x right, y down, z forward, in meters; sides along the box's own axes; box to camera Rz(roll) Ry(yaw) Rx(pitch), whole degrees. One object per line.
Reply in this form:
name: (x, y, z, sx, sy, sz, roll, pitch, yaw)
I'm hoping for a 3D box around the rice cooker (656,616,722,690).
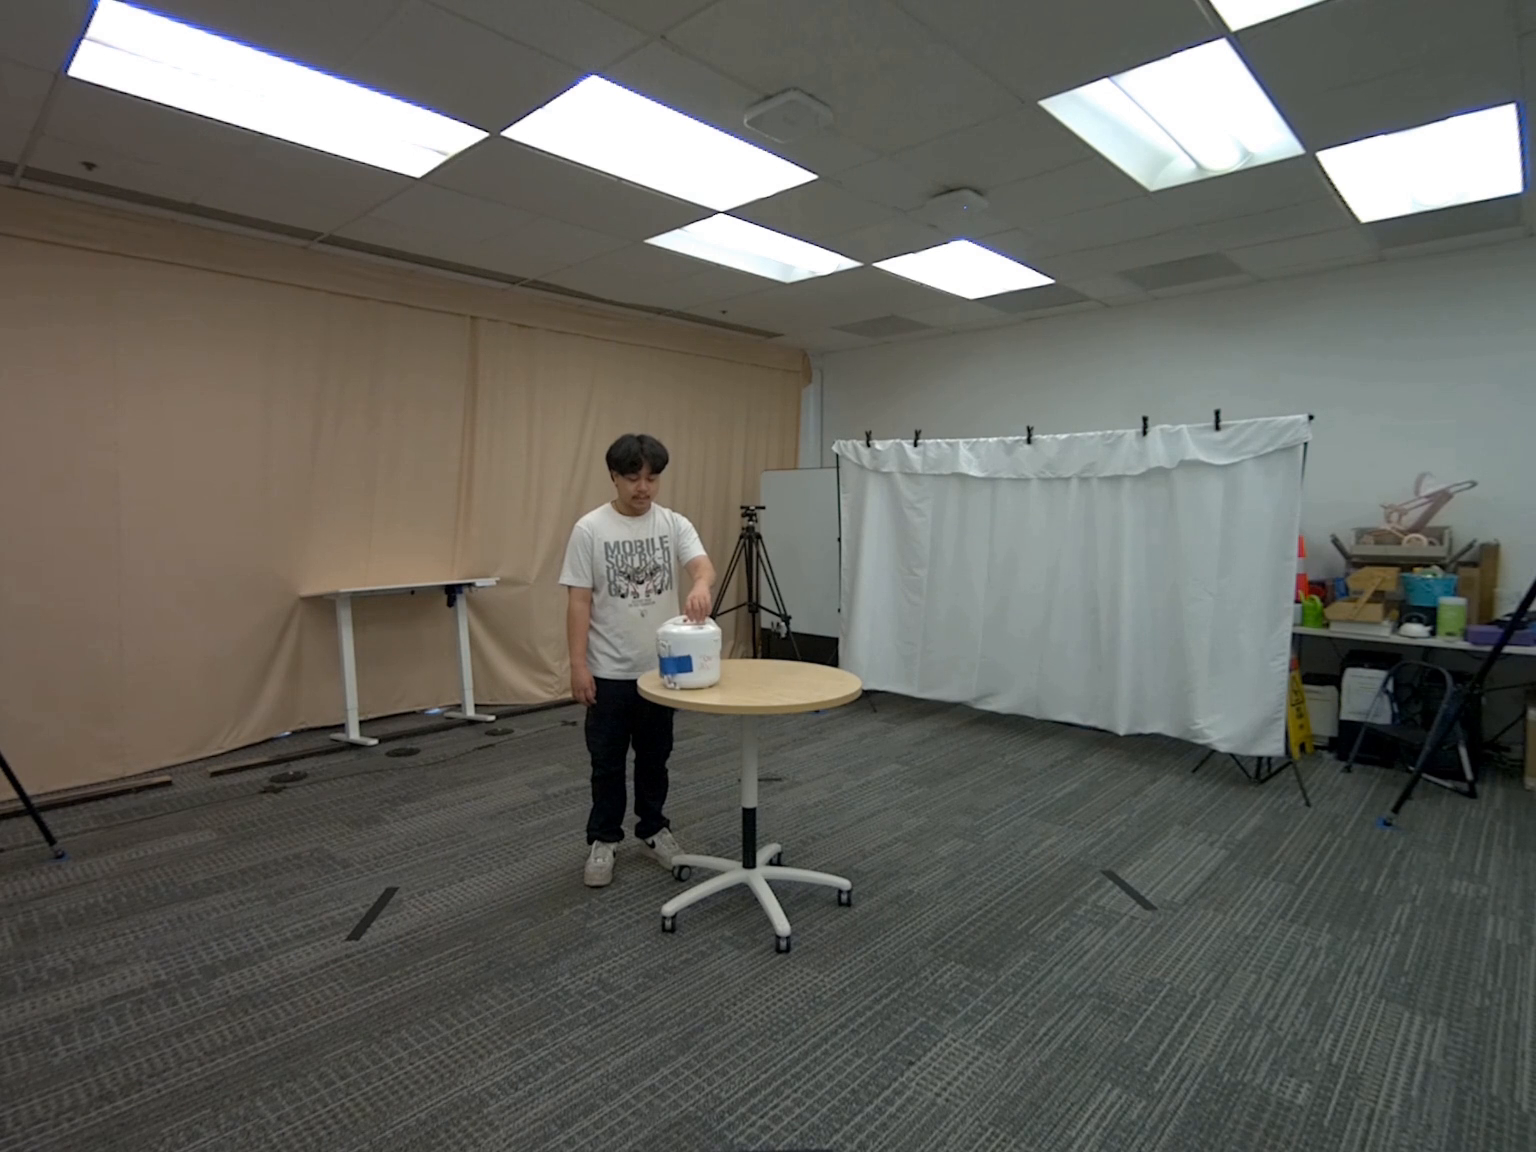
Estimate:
rice cooker: (-0.261, 0.245, 2.808, 0.218, 0.232, 0.220, 1, 3, -9)
